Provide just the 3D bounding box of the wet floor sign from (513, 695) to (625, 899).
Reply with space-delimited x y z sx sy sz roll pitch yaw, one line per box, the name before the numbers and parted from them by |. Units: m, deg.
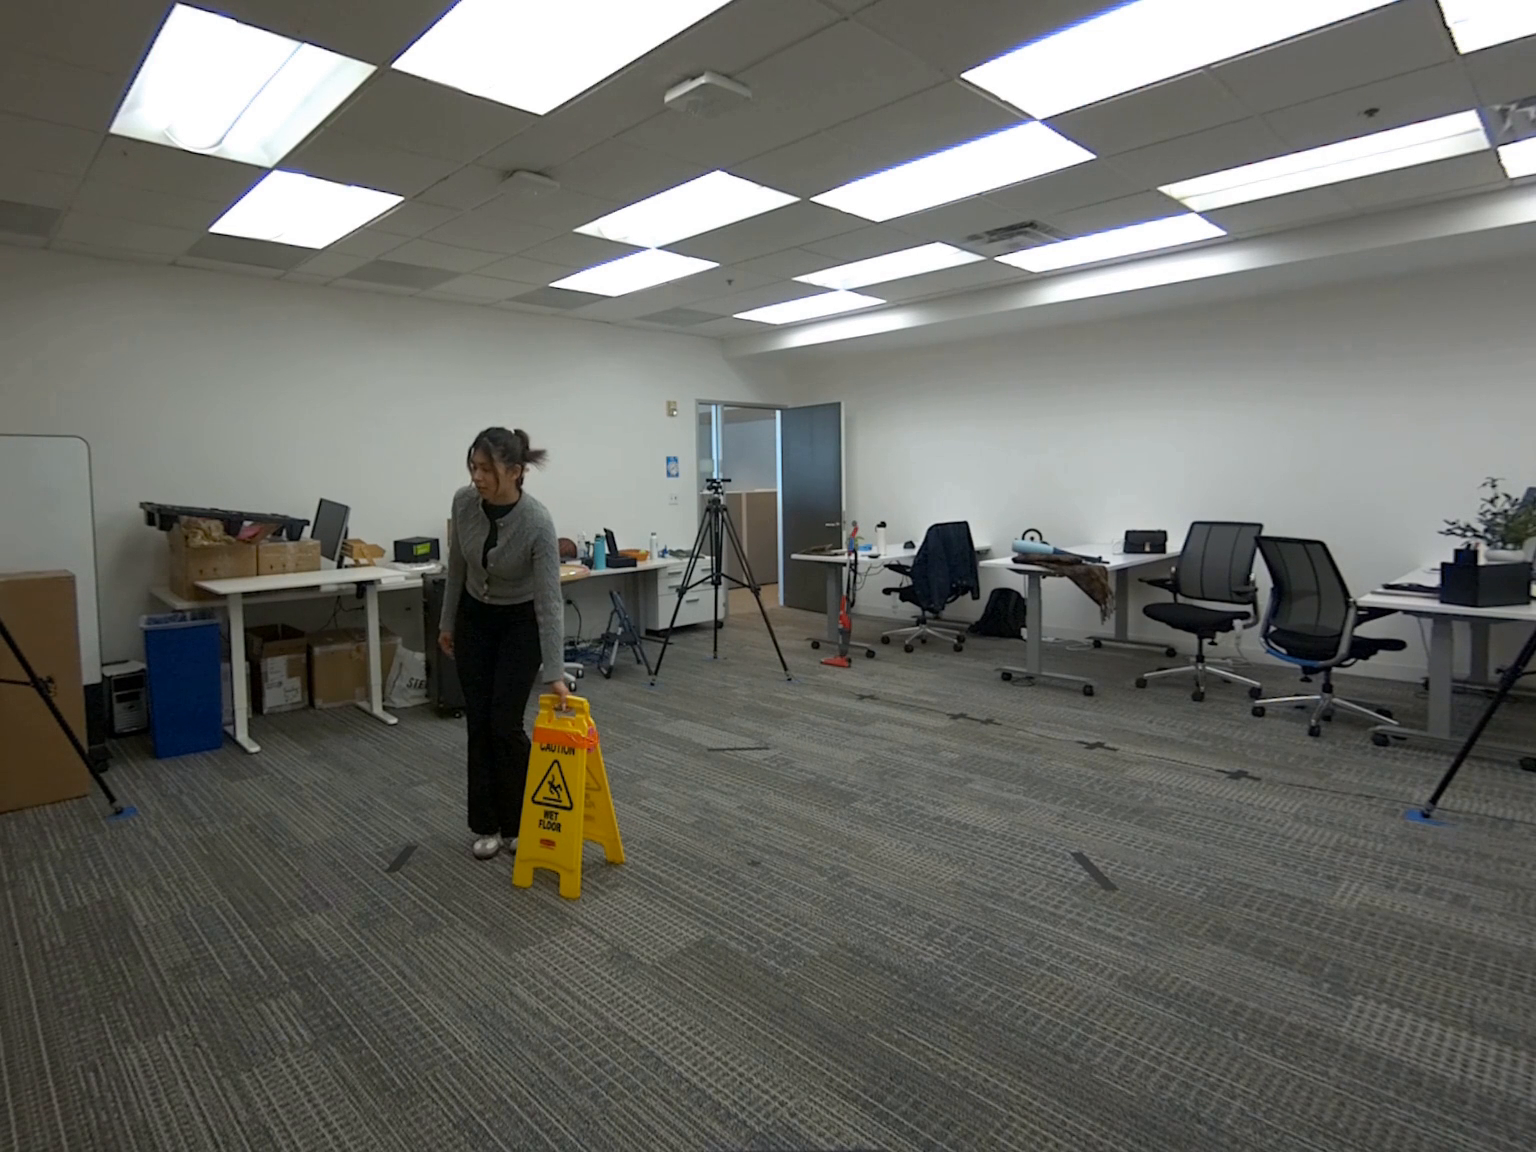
wet floor sign | -0.713 0.741 3.030 0.288 0.644 0.284 -1 4 25
